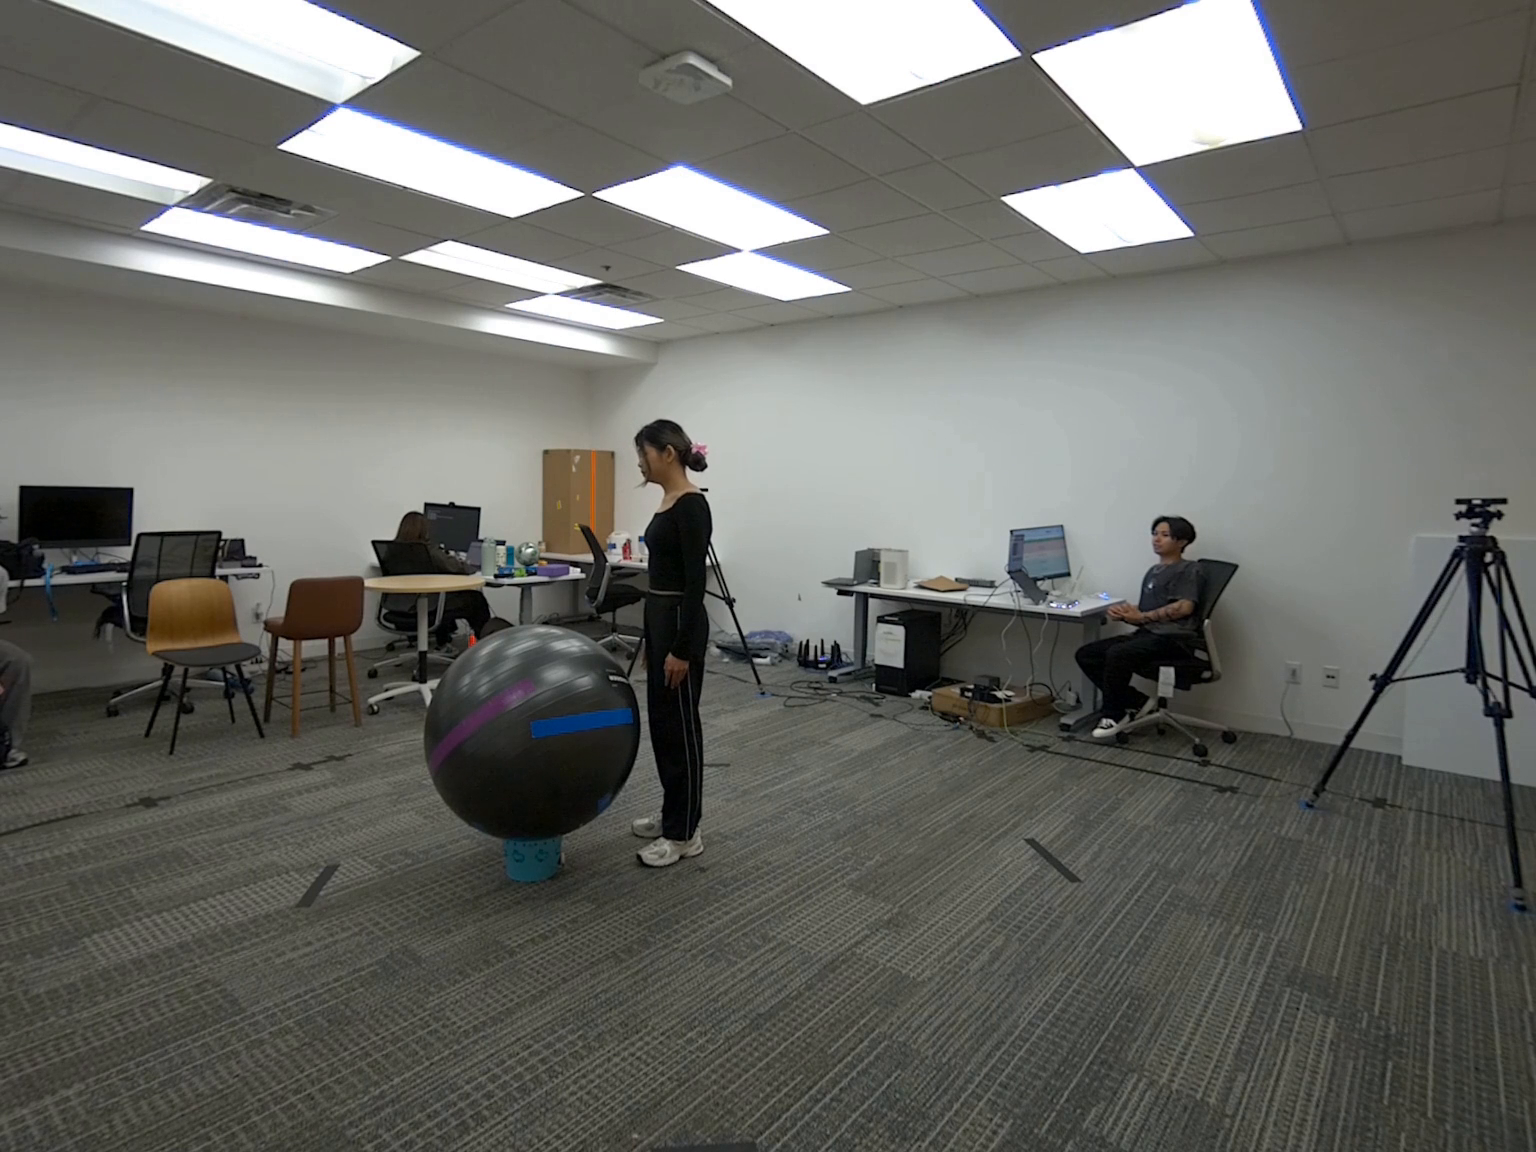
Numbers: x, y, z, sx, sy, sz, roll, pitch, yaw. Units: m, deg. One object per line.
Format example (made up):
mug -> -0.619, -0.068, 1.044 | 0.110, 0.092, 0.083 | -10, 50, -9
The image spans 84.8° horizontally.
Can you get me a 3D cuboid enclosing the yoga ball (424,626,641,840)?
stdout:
yoga ball -> -0.859, 0.554, 3.053 | 0.757, 0.756, 0.762 | 1, 4, -2
